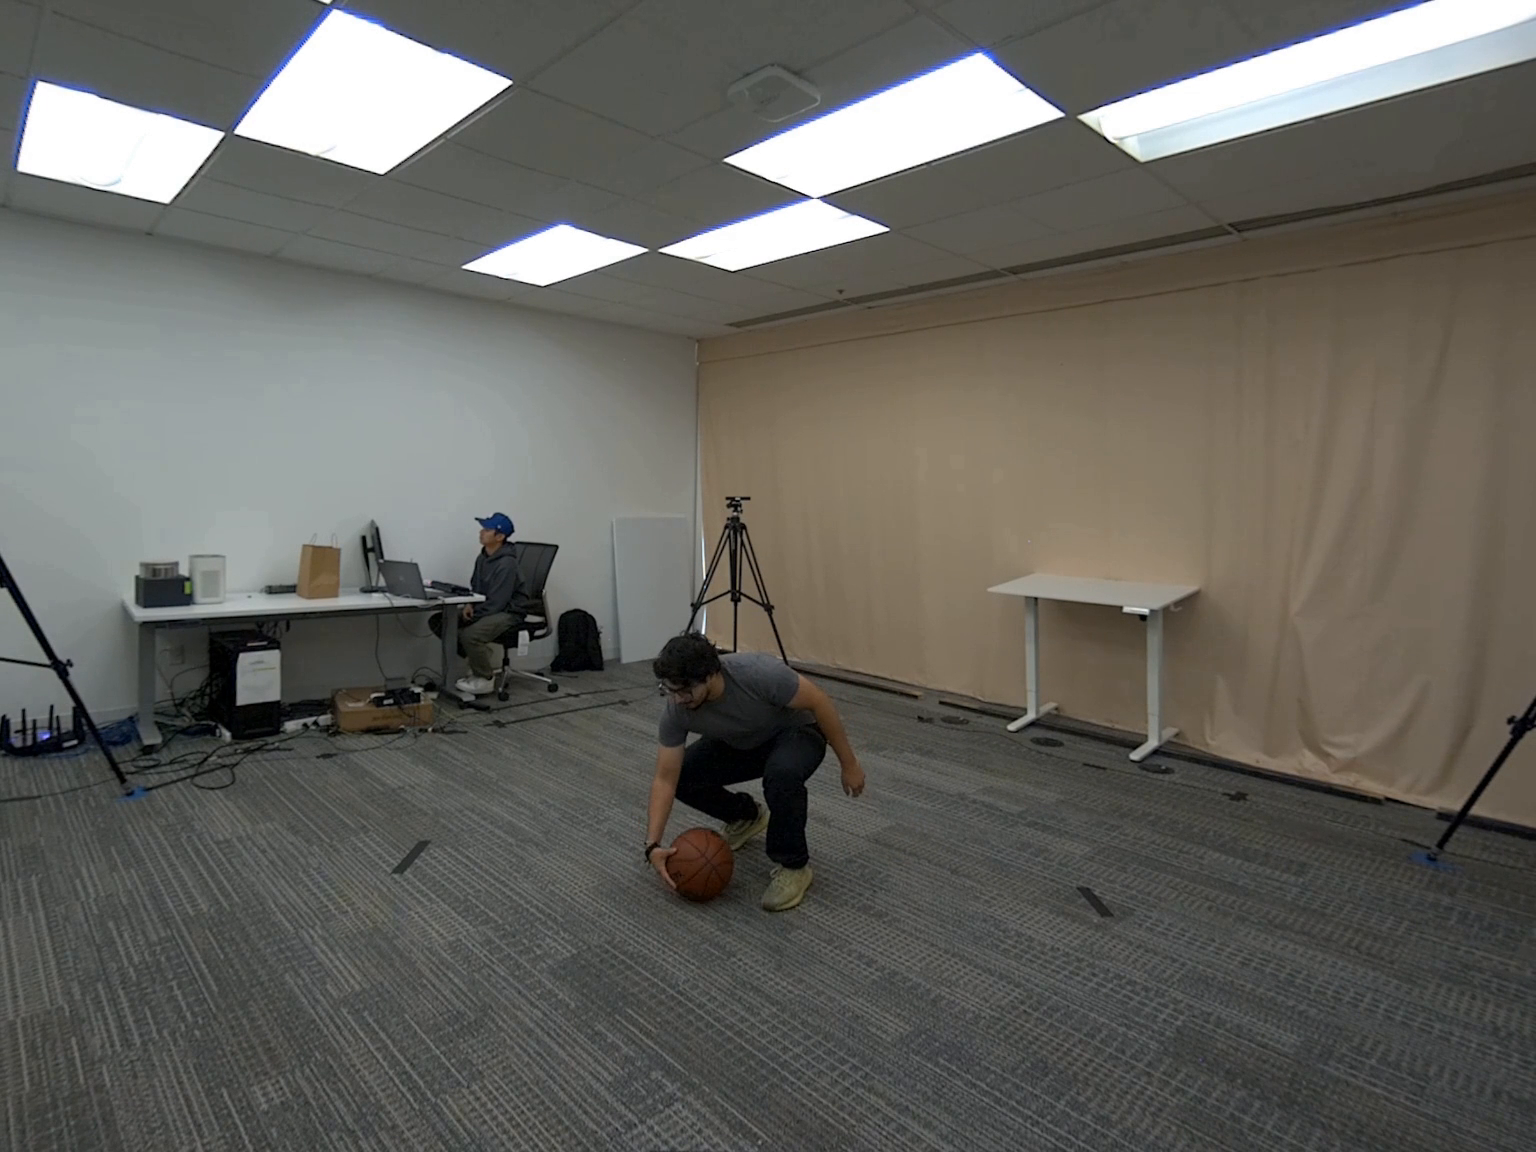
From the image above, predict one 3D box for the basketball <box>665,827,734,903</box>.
[{"bbox_3d":[-0.251,0.998,2.925,0.236,0.235,0.237,1,4,-1],"label":"basketball"}]
